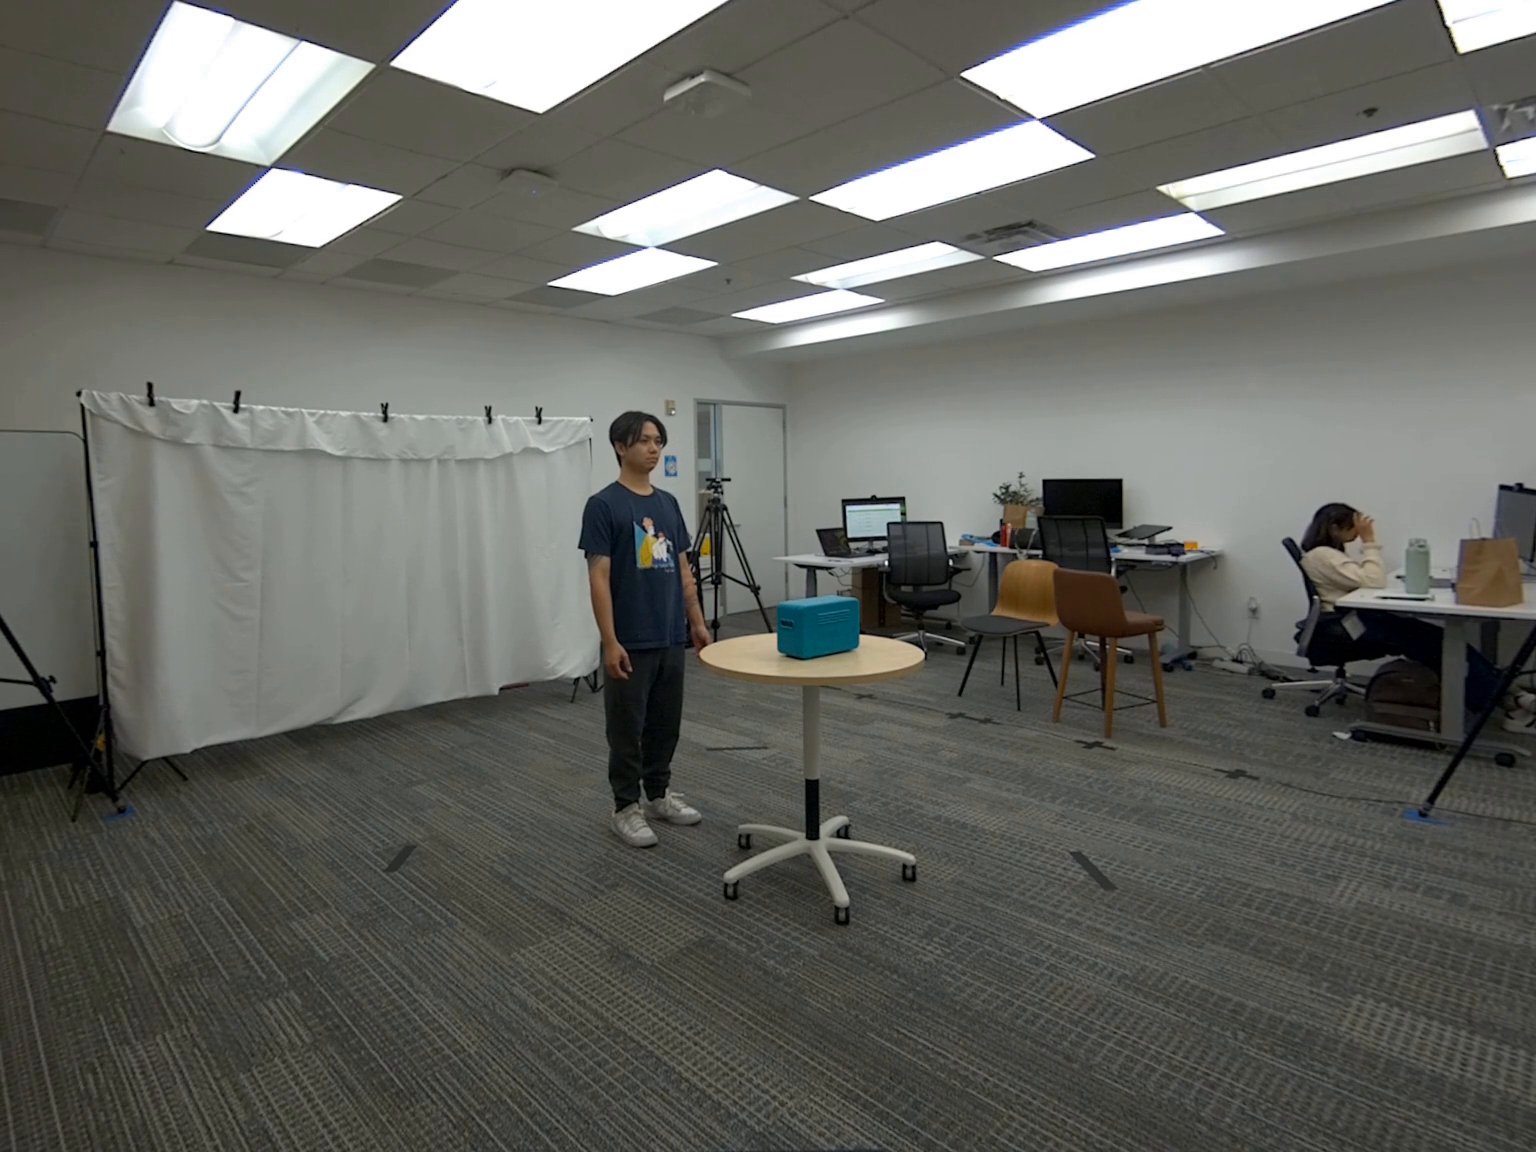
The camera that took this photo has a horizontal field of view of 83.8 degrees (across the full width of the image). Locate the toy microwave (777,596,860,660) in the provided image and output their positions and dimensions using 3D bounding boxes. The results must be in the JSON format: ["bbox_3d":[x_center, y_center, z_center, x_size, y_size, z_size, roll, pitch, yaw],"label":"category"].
[{"bbox_3d":[0.169,0.169,2.920,0.279,0.183,0.157,-6,6,-39],"label":"toy microwave"}]
